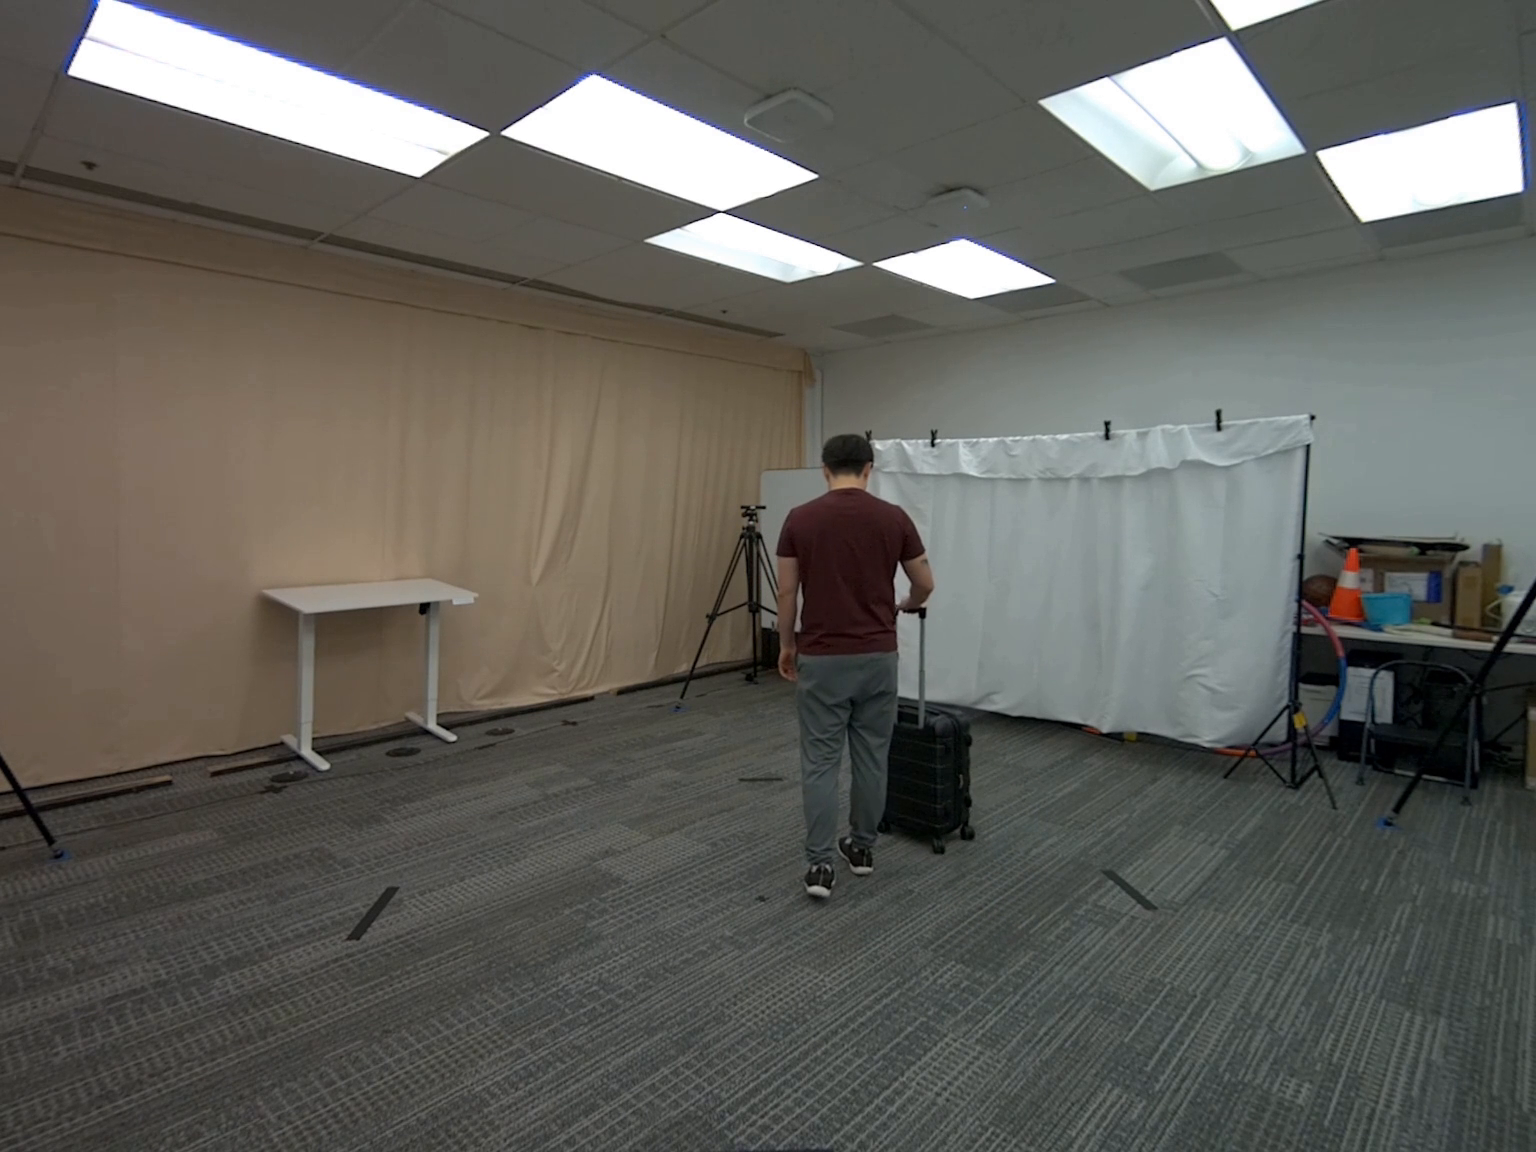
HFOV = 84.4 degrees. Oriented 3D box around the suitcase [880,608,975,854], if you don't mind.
[{"bbox_3d":[0.662,0.618,3.570,0.249,0.979,0.396,0,0,-41],"label":"suitcase"}]
